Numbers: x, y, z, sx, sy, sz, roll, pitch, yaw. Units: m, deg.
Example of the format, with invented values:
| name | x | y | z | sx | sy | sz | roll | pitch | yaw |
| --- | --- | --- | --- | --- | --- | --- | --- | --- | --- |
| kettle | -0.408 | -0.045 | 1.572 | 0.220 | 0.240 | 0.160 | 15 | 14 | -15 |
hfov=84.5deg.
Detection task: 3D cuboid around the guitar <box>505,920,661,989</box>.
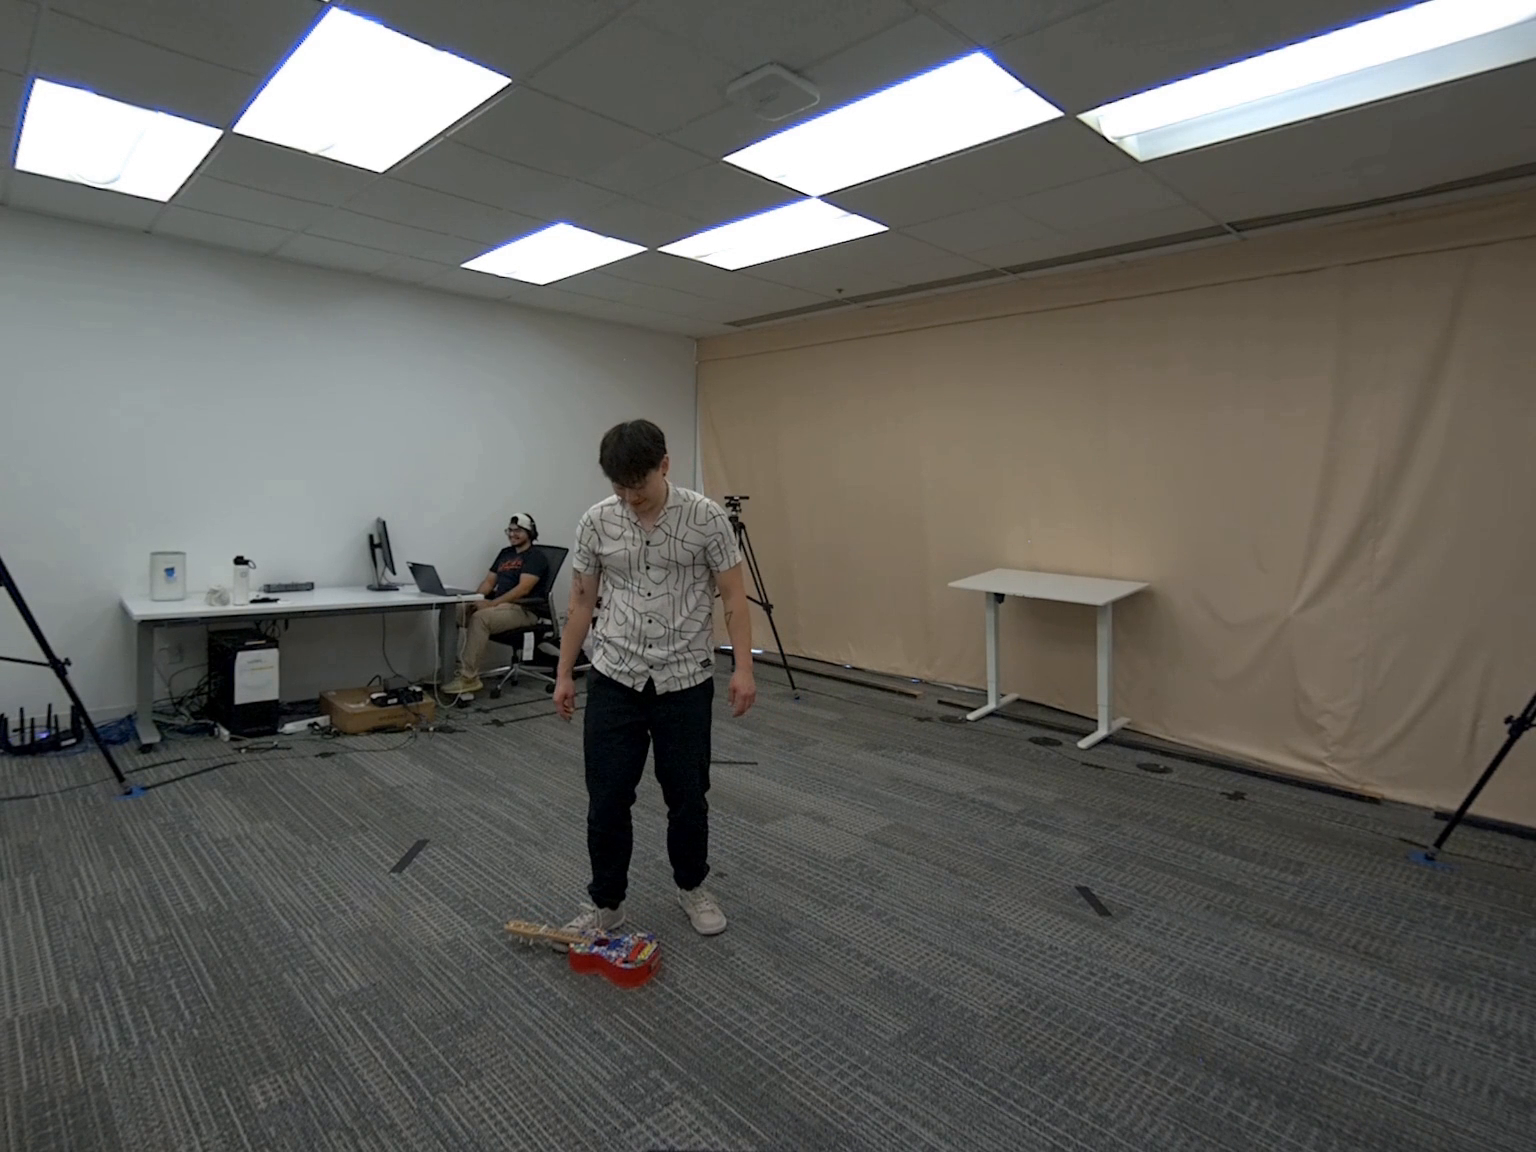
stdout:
| name | x | y | z | sx | sy | sz | roll | pitch | yaw |
| --- | --- | --- | --- | --- | --- | --- | --- | --- | --- |
| guitar | -0.564 | 1.109 | 2.551 | 0.507 | 0.070 | 0.190 | 4 | 6 | 25 |
